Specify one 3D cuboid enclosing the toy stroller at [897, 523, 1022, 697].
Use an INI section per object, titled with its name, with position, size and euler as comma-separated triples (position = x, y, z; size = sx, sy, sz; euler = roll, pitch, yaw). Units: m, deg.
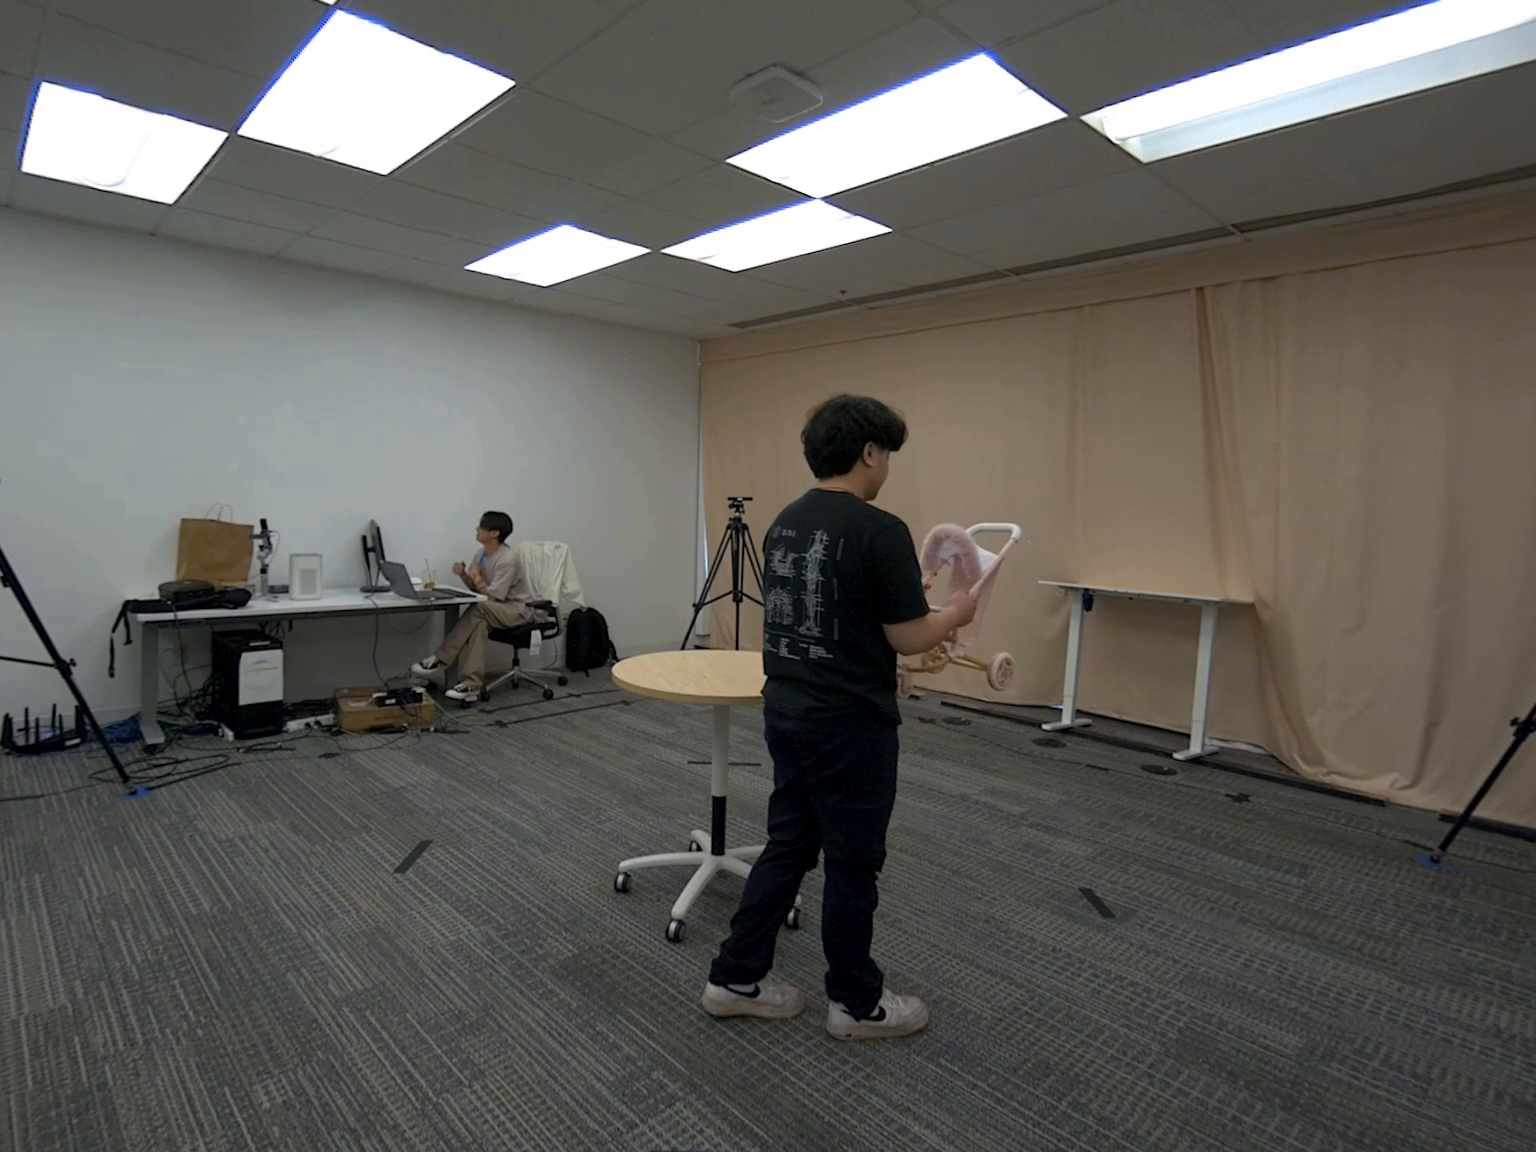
[toy stroller]
position = 0.511, 0.096, 2.397
size = 0.333, 0.535, 0.288
euler = 8, 1, -31
